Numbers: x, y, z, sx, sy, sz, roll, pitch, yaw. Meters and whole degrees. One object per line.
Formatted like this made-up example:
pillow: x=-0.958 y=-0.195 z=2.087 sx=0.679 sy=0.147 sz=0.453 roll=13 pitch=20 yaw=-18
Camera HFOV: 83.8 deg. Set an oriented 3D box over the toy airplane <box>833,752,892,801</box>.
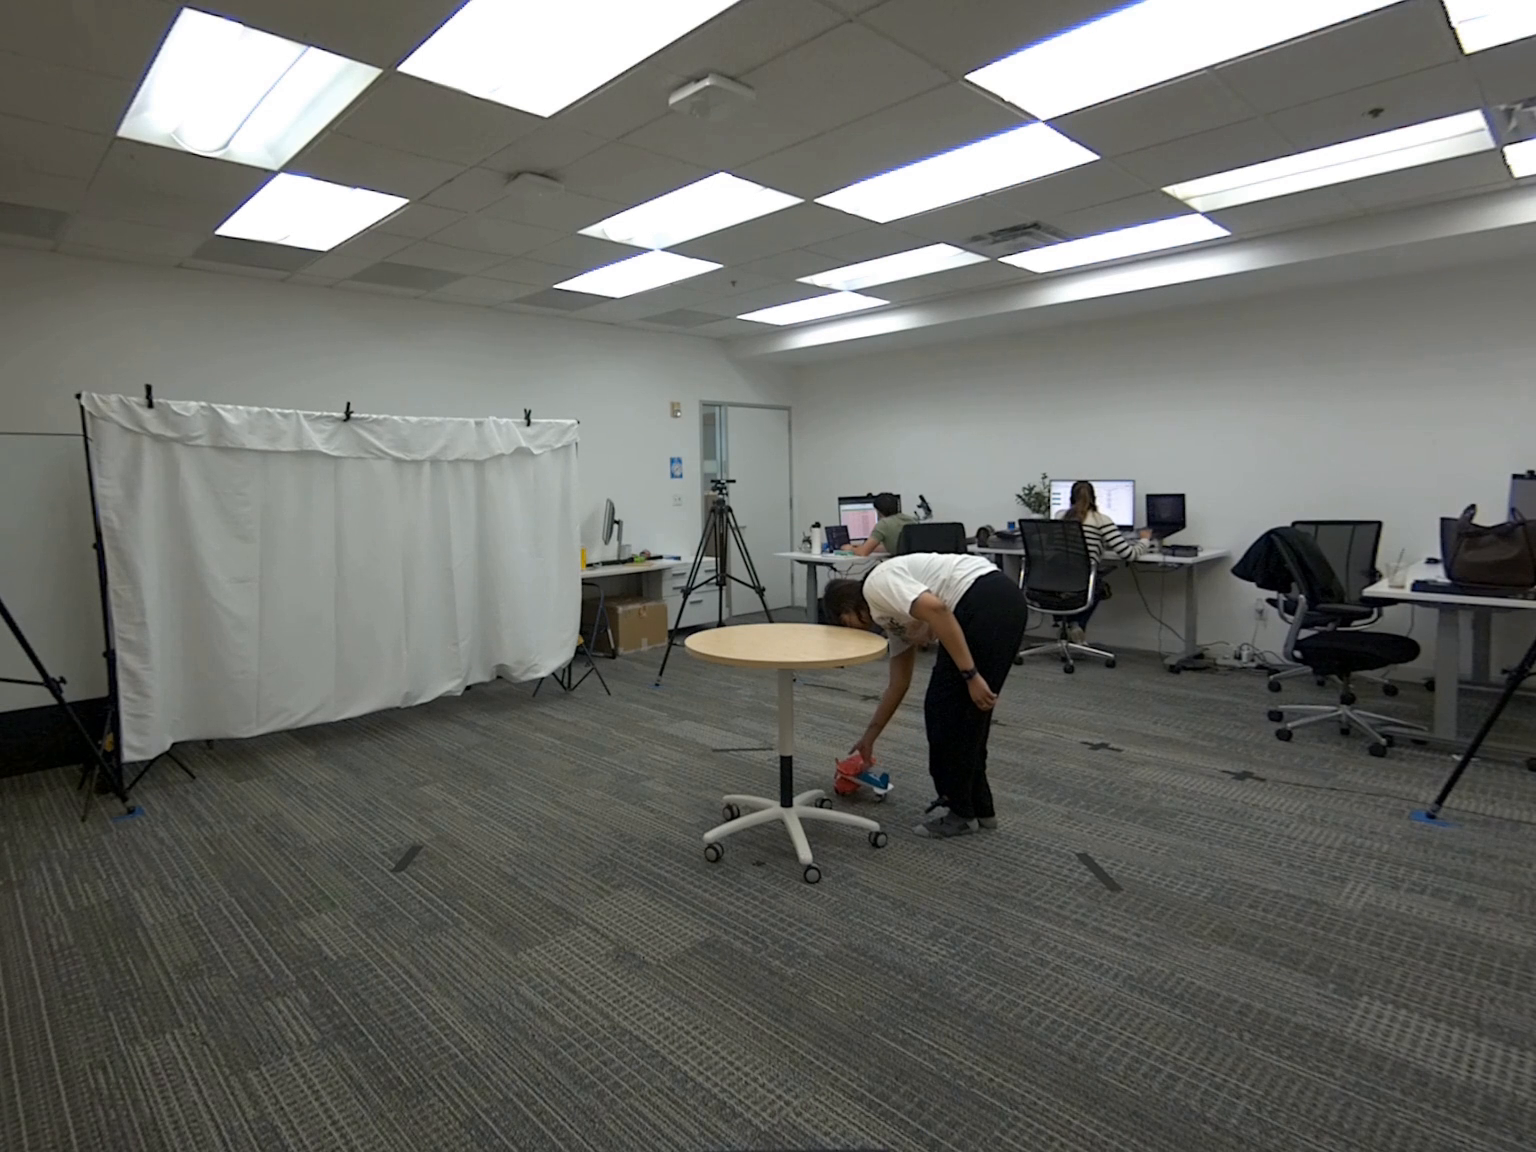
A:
toy airplane: x=0.424 y=0.892 z=3.774 sx=0.262 sy=0.156 sz=0.249 roll=-1 pitch=5 yaw=11
